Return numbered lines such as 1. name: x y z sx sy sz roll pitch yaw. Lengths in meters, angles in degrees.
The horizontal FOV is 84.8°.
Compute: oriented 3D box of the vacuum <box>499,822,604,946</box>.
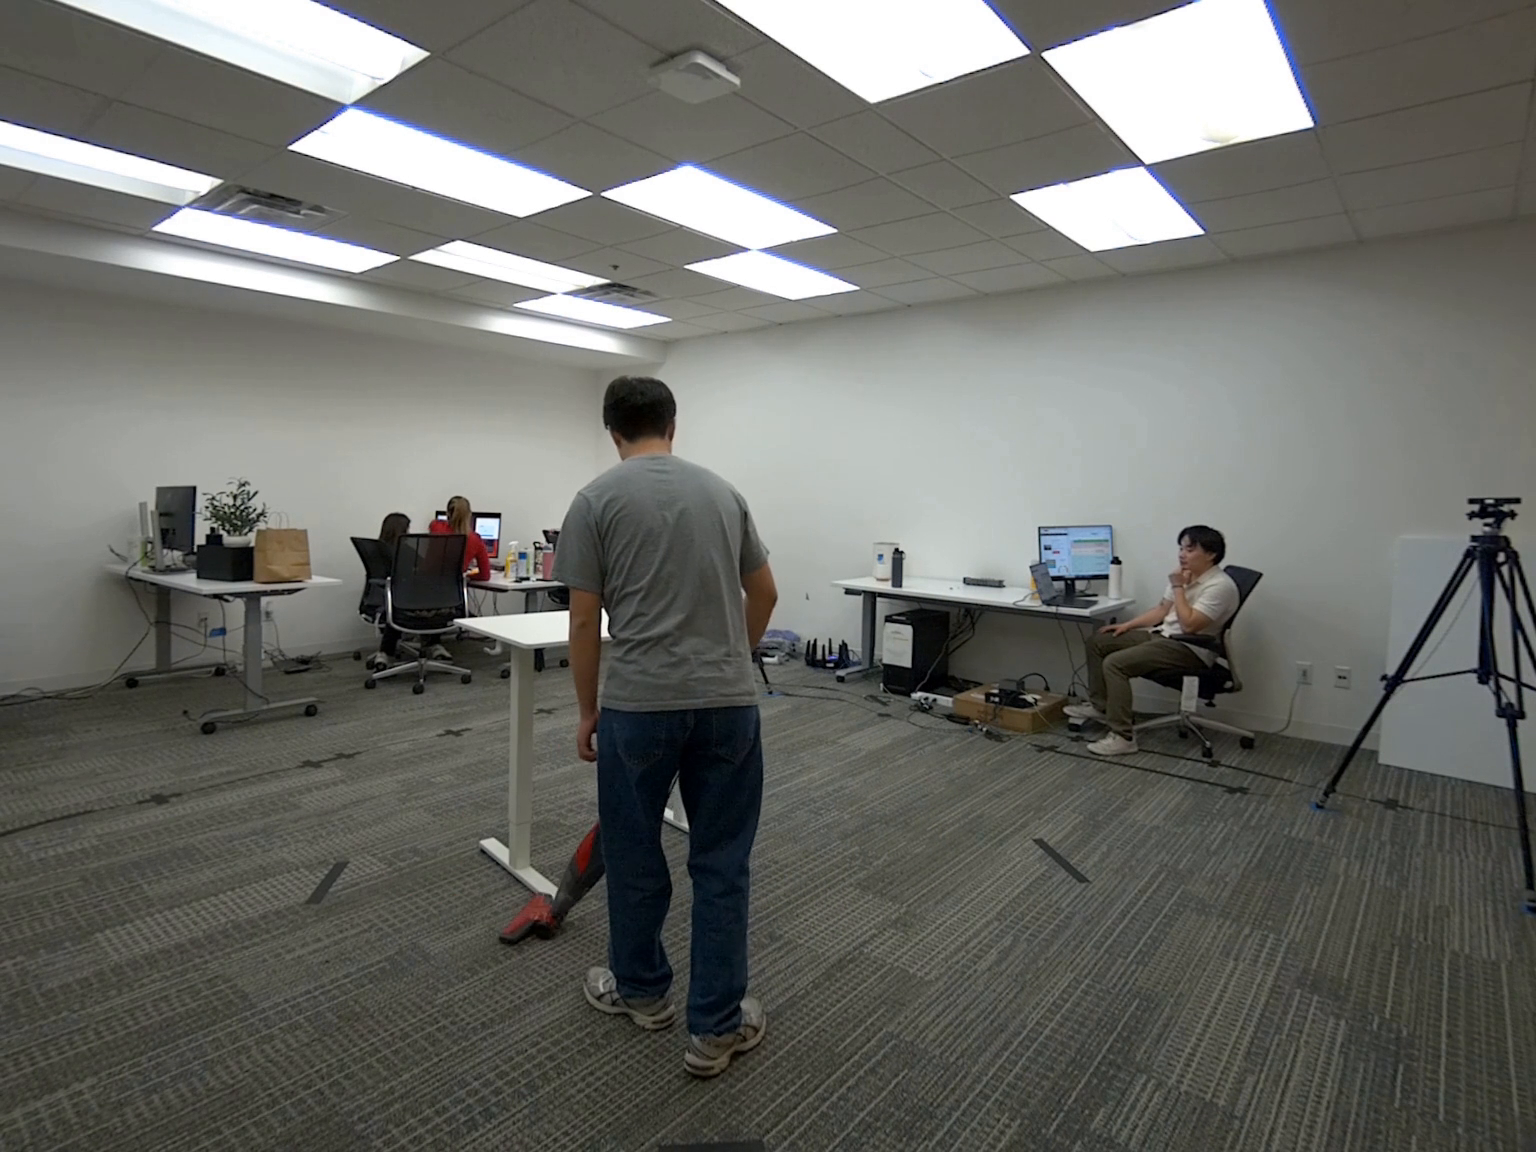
1. vacuum: -0.436 0.705 2.521 0.147 1.047 0.248 43 18 11
